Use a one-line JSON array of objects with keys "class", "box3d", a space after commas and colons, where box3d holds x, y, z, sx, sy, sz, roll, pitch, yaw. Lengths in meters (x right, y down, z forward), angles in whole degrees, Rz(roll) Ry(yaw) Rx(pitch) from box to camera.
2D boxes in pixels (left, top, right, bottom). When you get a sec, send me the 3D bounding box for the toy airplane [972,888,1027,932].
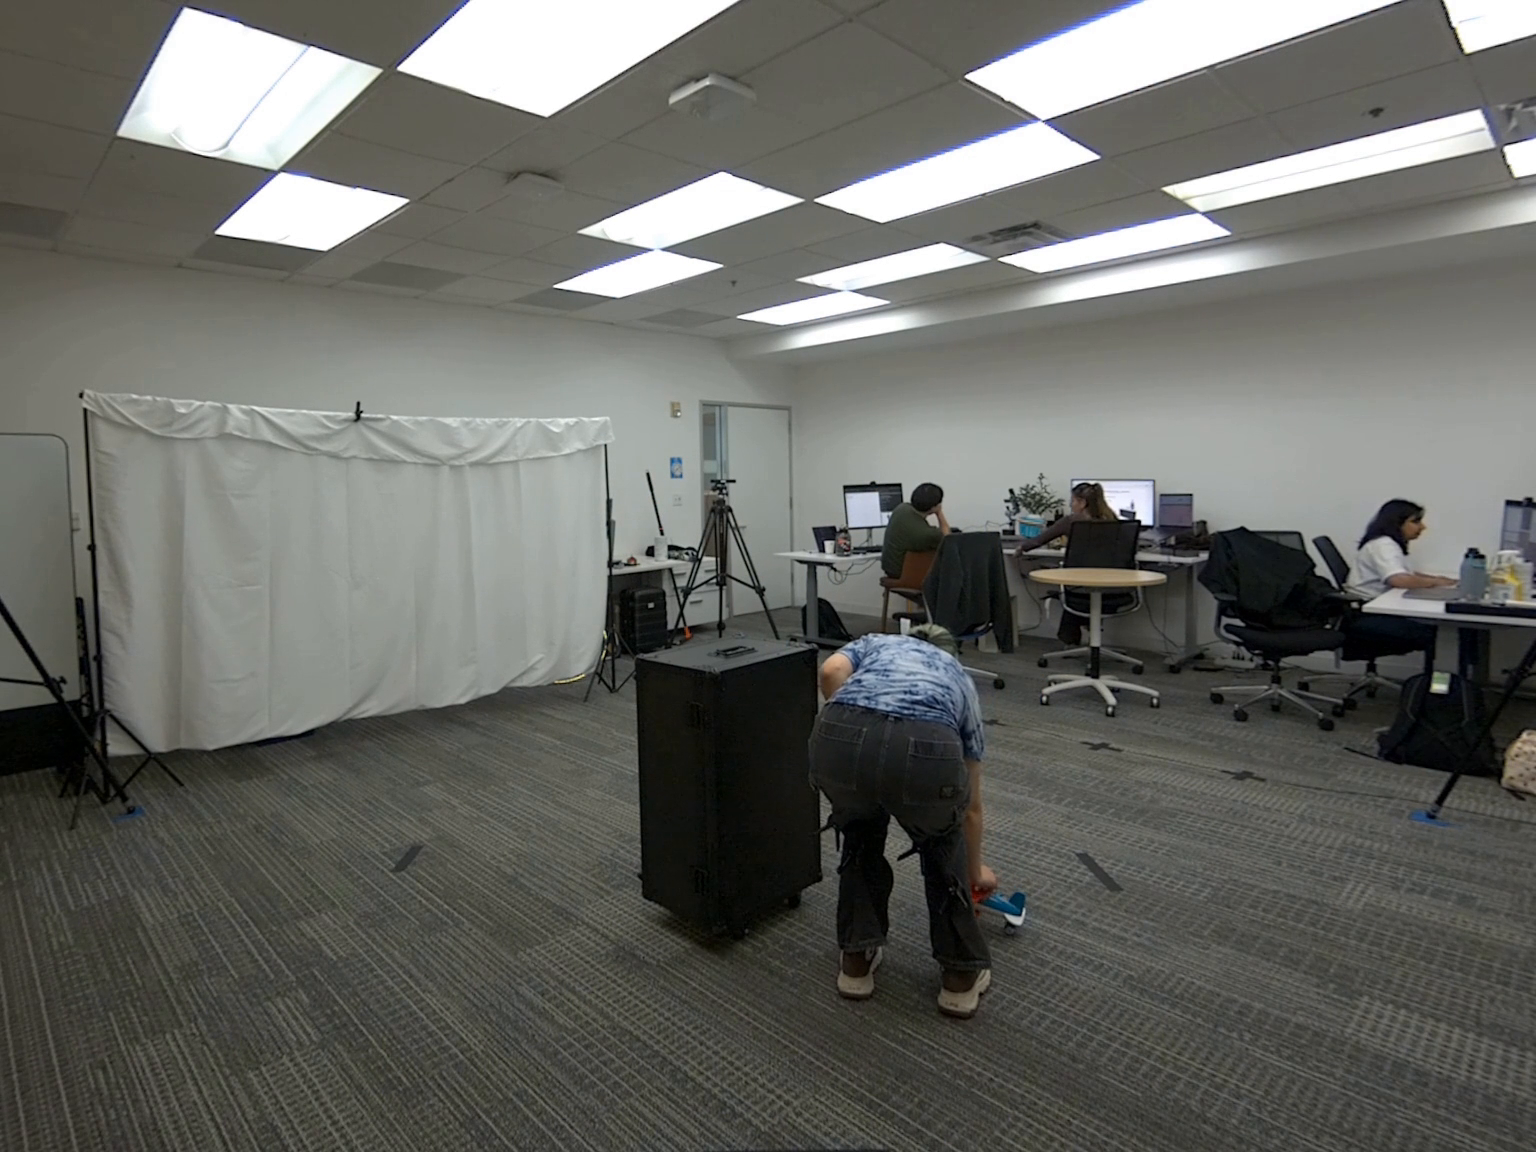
[{"class": "toy airplane", "box3d": [0.664, 0.999, 2.666, 0.258, 0.156, 0.253, -2, 5, -4]}]
